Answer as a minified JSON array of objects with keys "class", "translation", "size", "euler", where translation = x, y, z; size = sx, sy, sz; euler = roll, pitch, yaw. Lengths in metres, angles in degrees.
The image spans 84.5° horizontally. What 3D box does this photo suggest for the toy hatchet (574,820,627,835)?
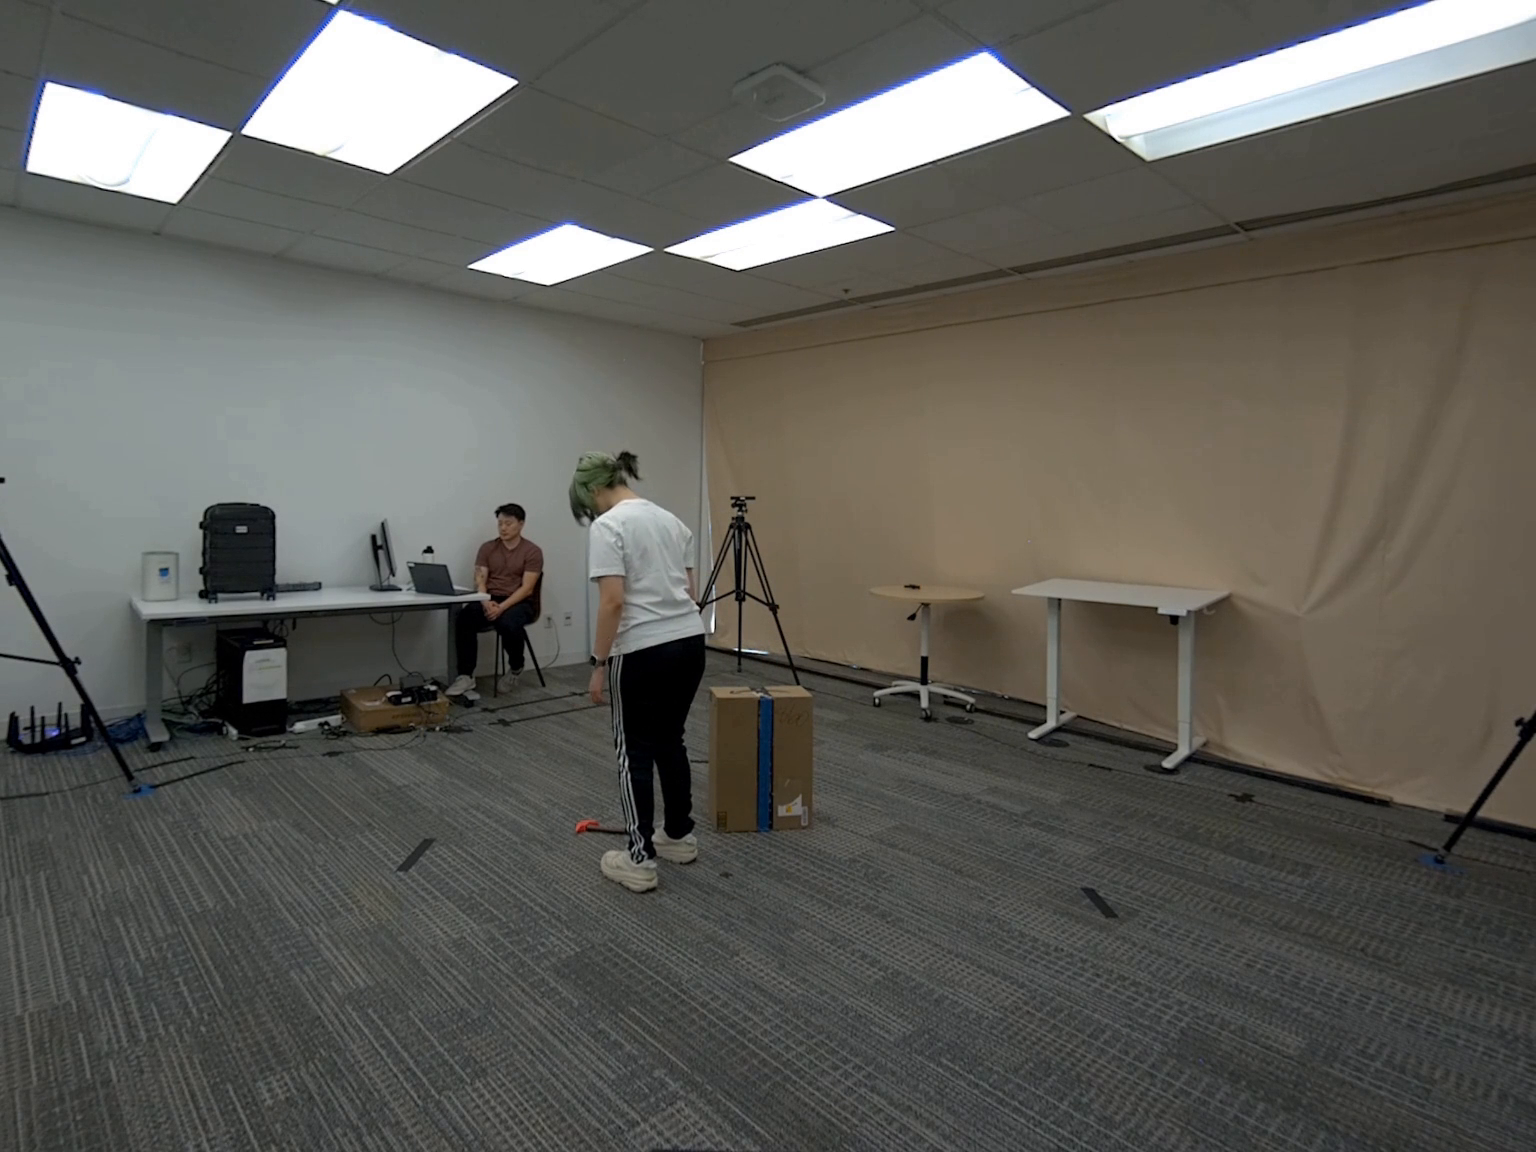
[{"class":"toy hatchet","translation":[-0.672,1.045,3.507],"size":[0.269,0.029,0.131],"euler":[3,1,-5]}]
